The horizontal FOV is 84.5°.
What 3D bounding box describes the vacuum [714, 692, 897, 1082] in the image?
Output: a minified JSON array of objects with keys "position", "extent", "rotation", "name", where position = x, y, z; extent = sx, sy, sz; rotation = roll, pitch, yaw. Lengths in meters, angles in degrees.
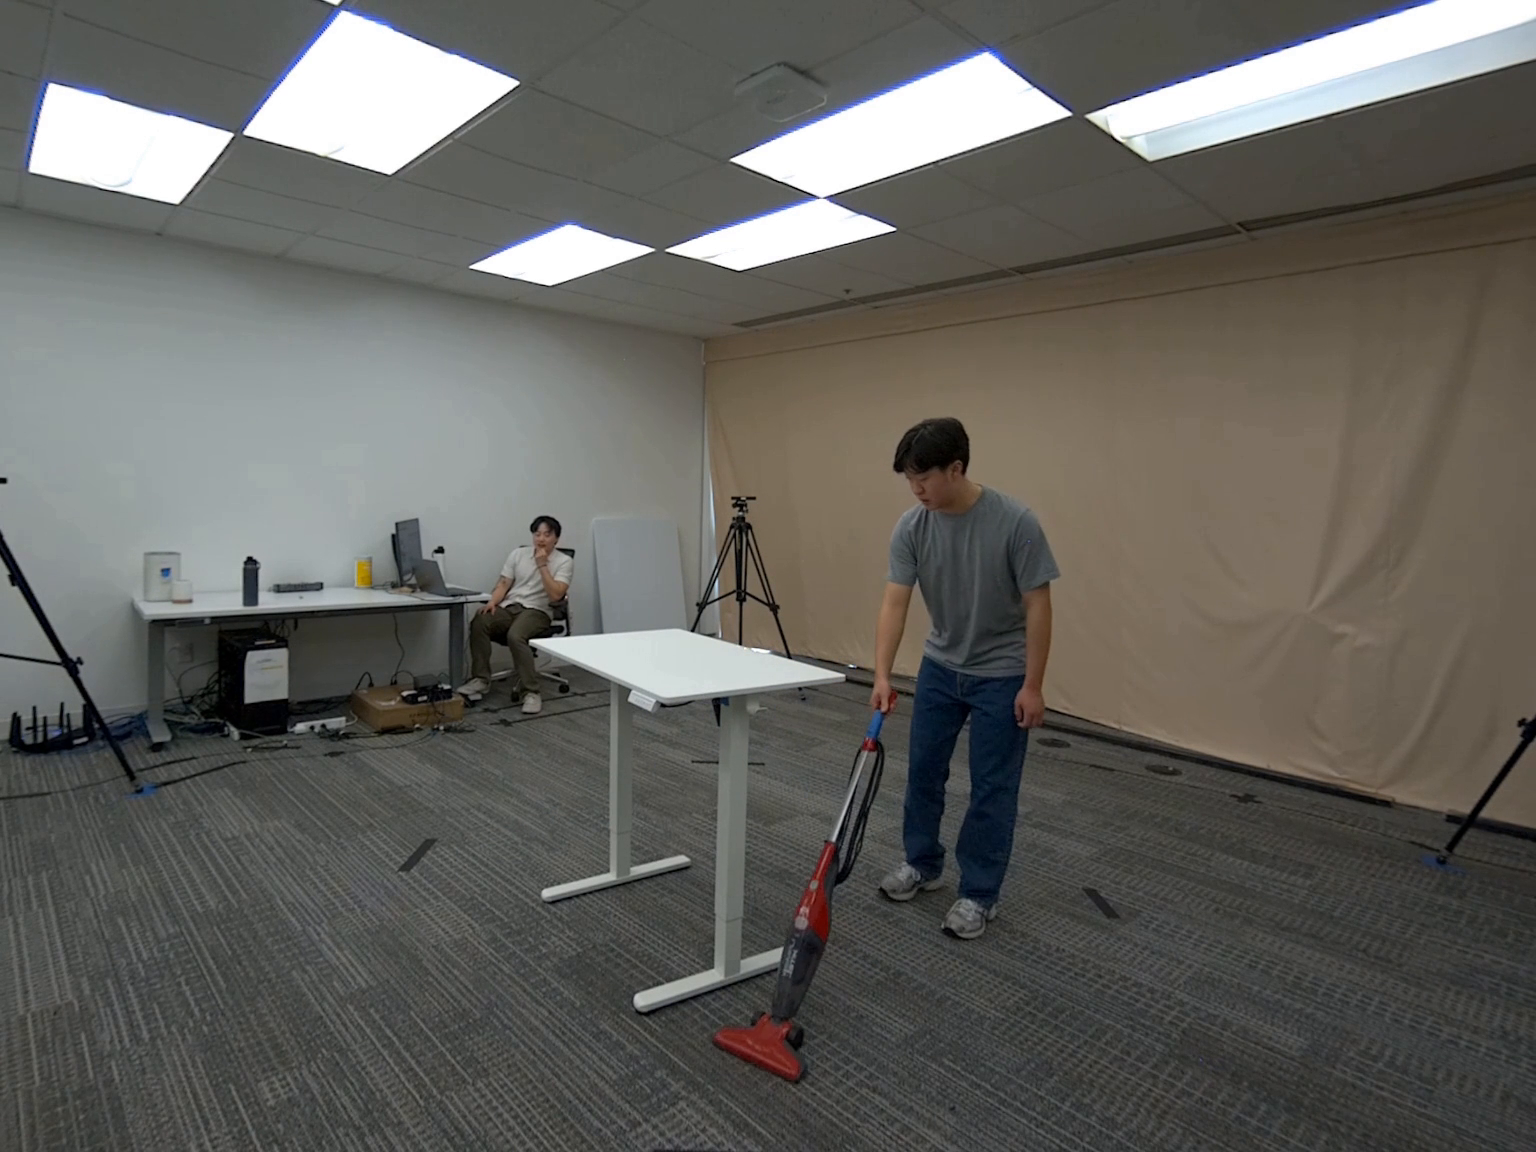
[{"position":[0.204,0.798,2.401],"extent":[0.258,1.057,0.140],"rotation":[7,-38,28],"name":"vacuum"}]
